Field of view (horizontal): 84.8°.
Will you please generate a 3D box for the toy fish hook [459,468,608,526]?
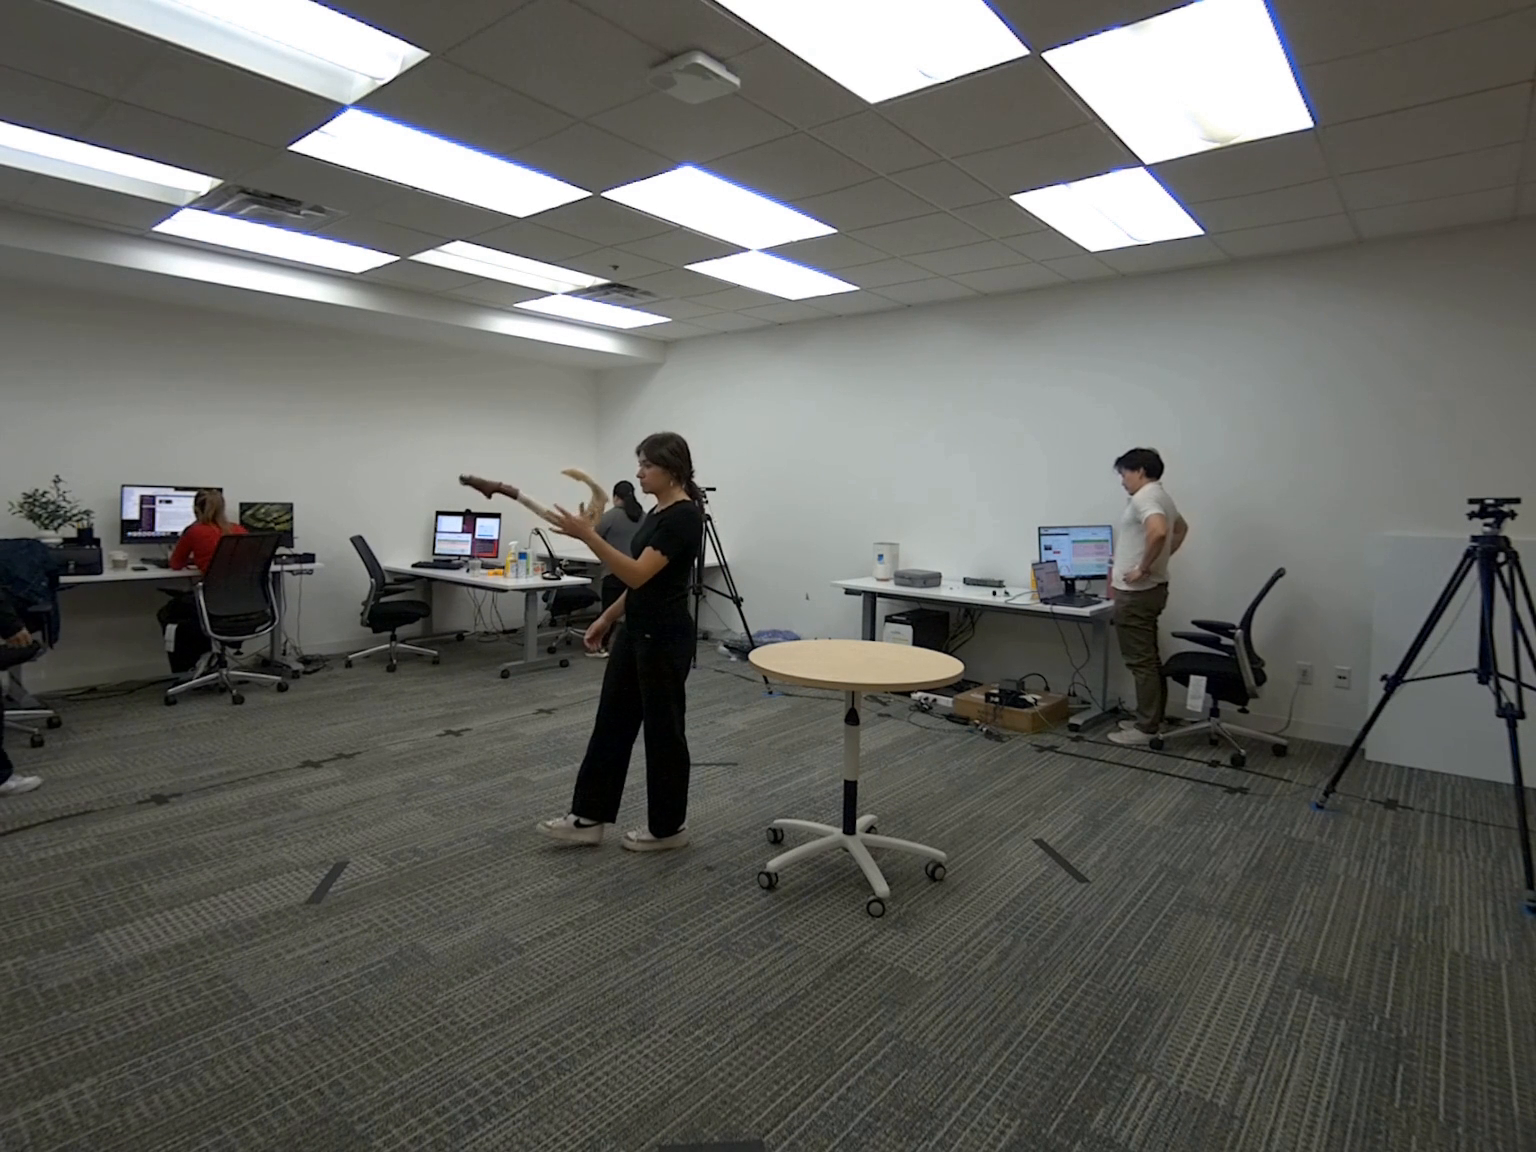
[{"bbox_3d":[-0.819,-0.258,2.942,0.494,0.224,0.049,19,6,-20],"label":"toy fish hook"}]
